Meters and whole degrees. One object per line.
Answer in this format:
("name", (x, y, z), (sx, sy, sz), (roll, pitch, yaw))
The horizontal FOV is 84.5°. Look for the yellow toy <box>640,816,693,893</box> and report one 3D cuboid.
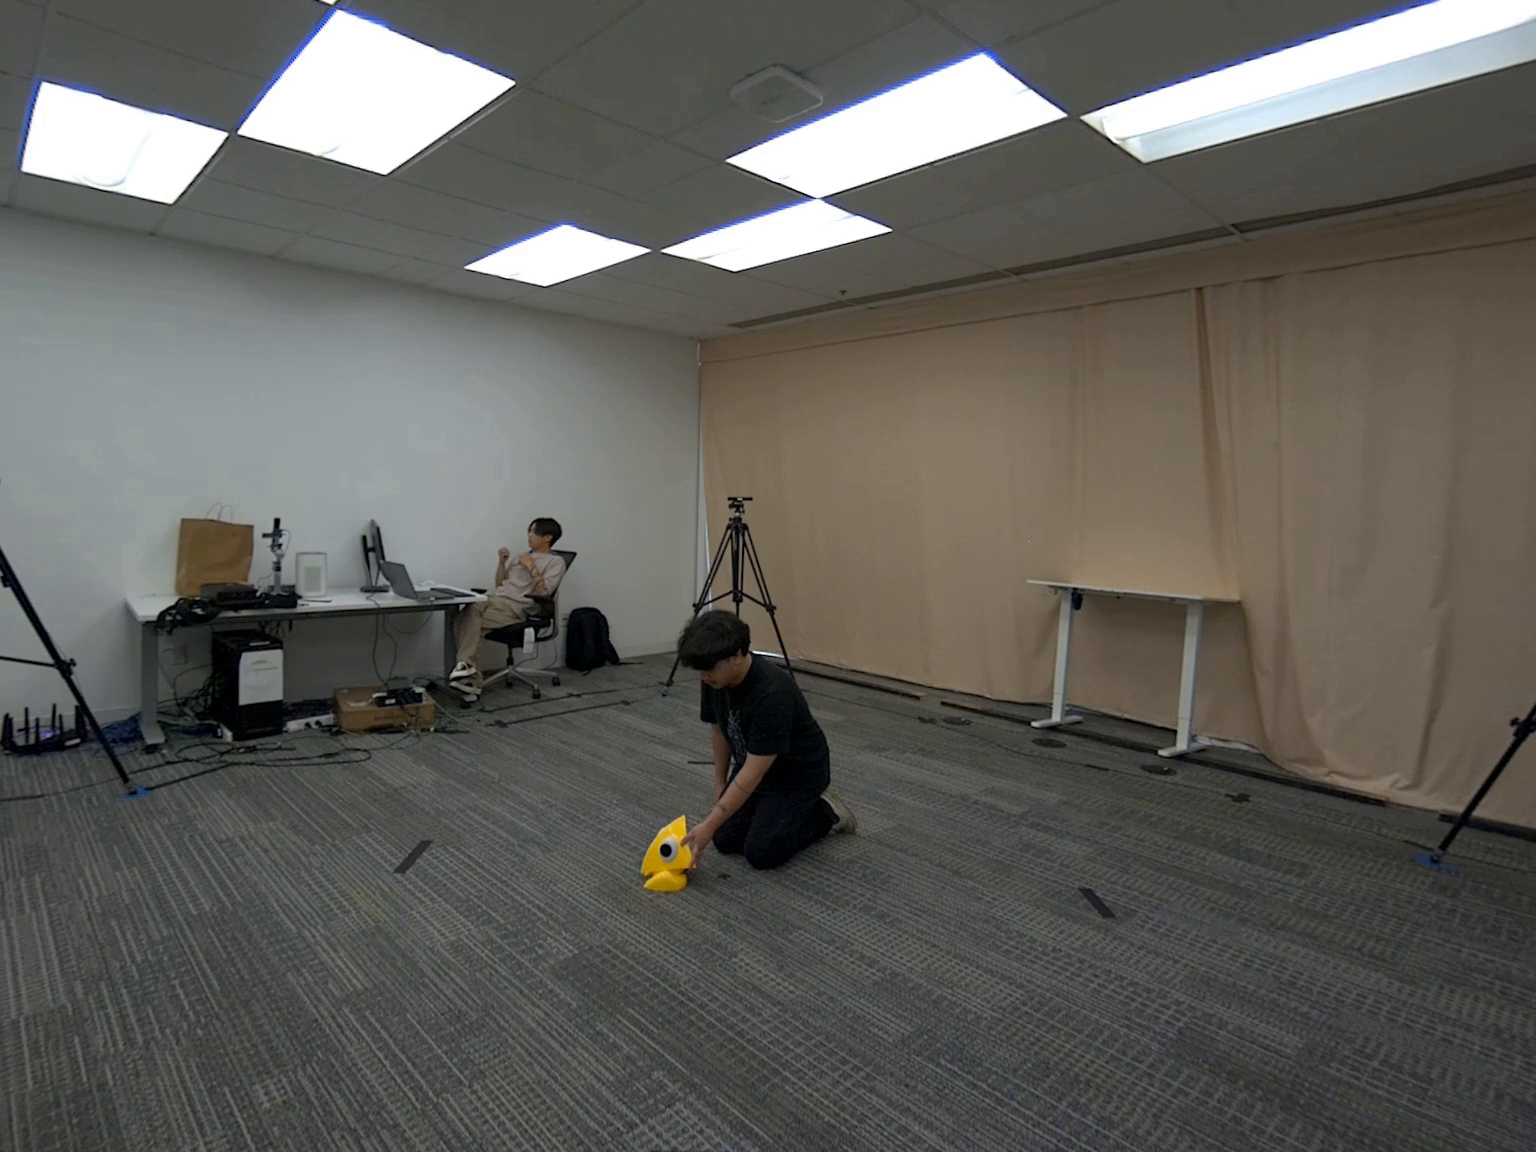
("yellow toy", (-0.375, 0.995, 3.069), (0.191, 0.230, 0.207), (0, 4, -13))
